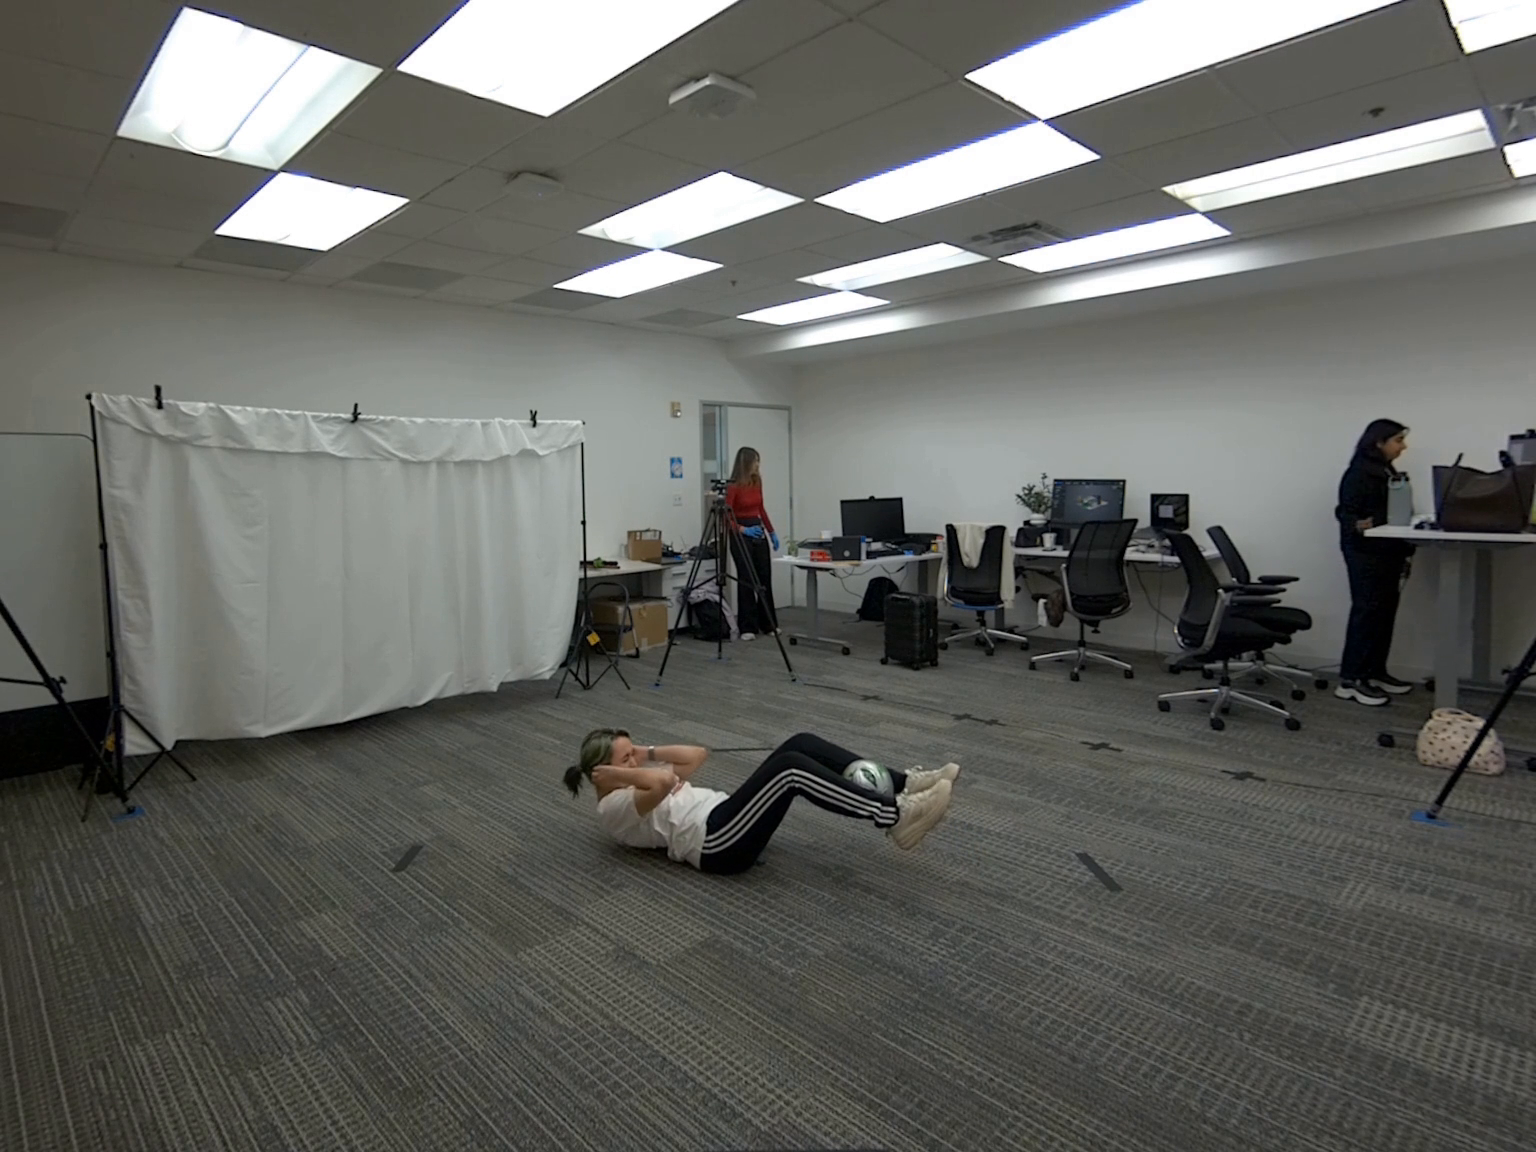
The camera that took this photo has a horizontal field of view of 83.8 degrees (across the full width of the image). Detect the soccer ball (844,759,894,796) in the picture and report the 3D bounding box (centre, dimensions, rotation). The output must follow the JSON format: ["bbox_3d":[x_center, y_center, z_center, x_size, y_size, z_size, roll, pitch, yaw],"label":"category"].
[{"bbox_3d":[0.337,0.747,3.031,0.187,0.187,0.188,-1,5,-2],"label":"soccer ball"}]
